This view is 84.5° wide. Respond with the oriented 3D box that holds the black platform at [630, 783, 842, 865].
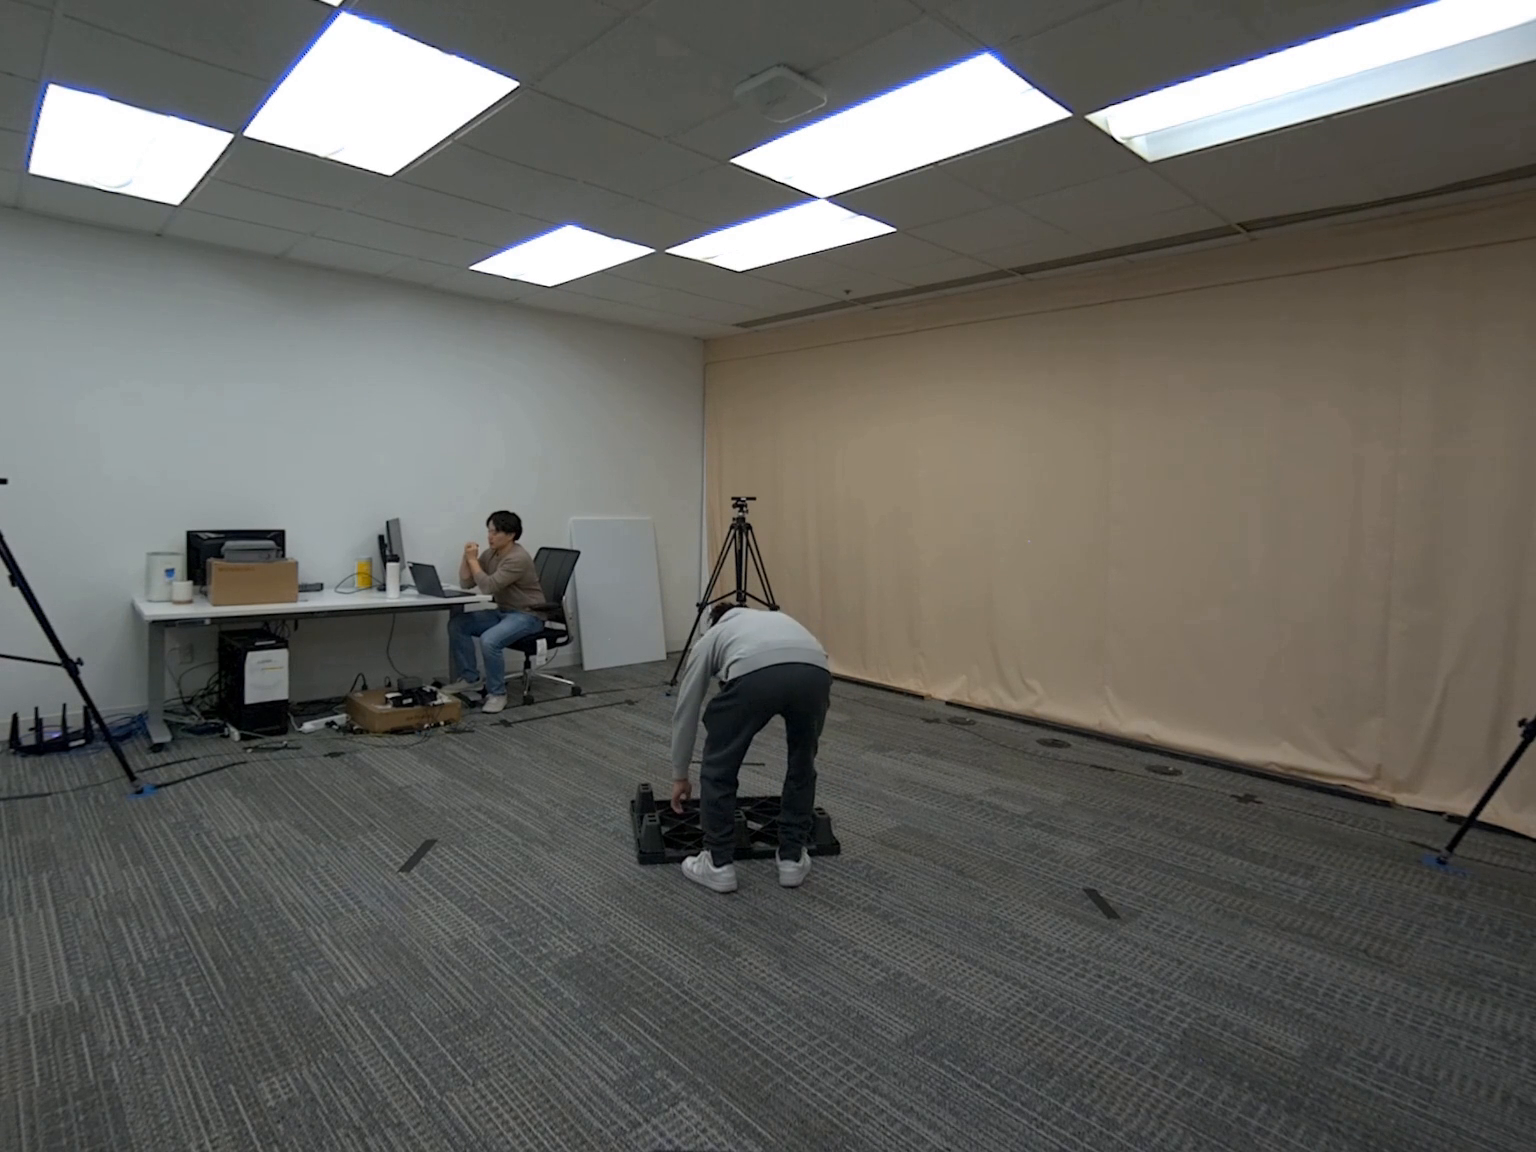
[{"bbox_3d":[-0.171,1.003,3.530,0.798,0.143,0.612,0,5,-11],"label":"black platform"}]
